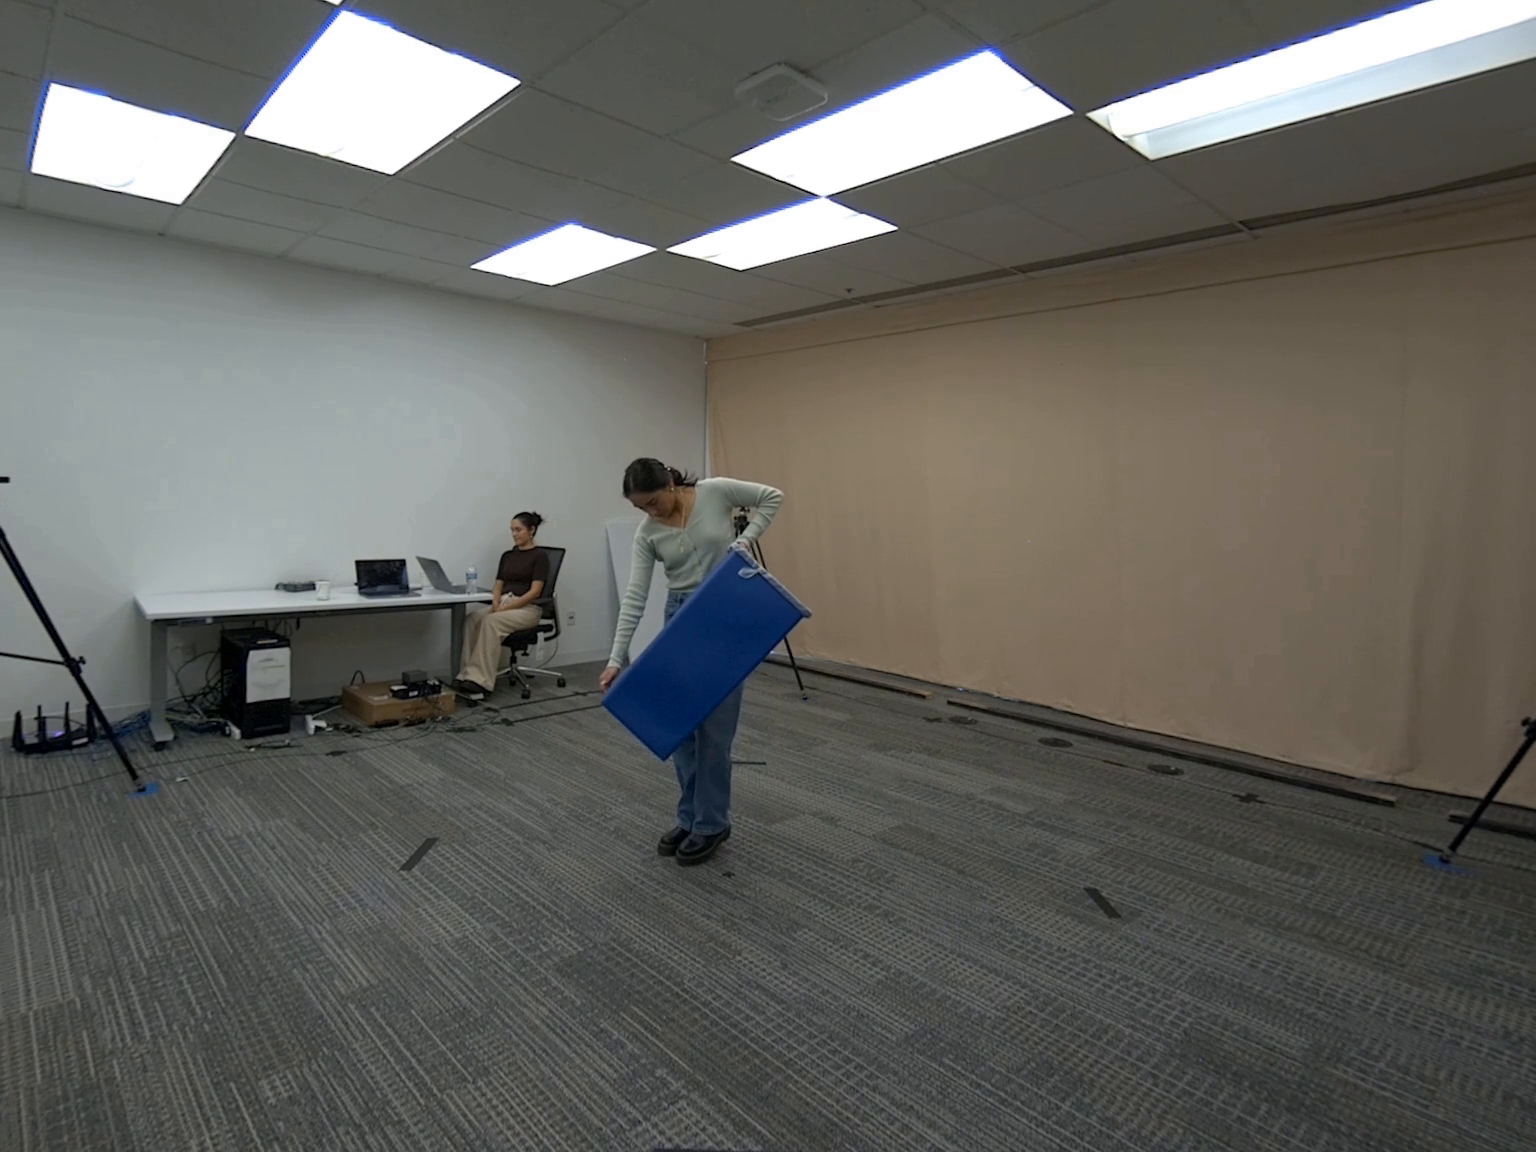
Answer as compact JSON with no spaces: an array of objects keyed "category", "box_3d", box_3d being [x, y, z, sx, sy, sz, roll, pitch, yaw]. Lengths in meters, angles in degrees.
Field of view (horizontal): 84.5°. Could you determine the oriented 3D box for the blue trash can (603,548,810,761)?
[{"category":"blue trash can","box_3d":[-0.238,0.271,3.025,0.379,0.713,0.374,43,-4,0]}]
